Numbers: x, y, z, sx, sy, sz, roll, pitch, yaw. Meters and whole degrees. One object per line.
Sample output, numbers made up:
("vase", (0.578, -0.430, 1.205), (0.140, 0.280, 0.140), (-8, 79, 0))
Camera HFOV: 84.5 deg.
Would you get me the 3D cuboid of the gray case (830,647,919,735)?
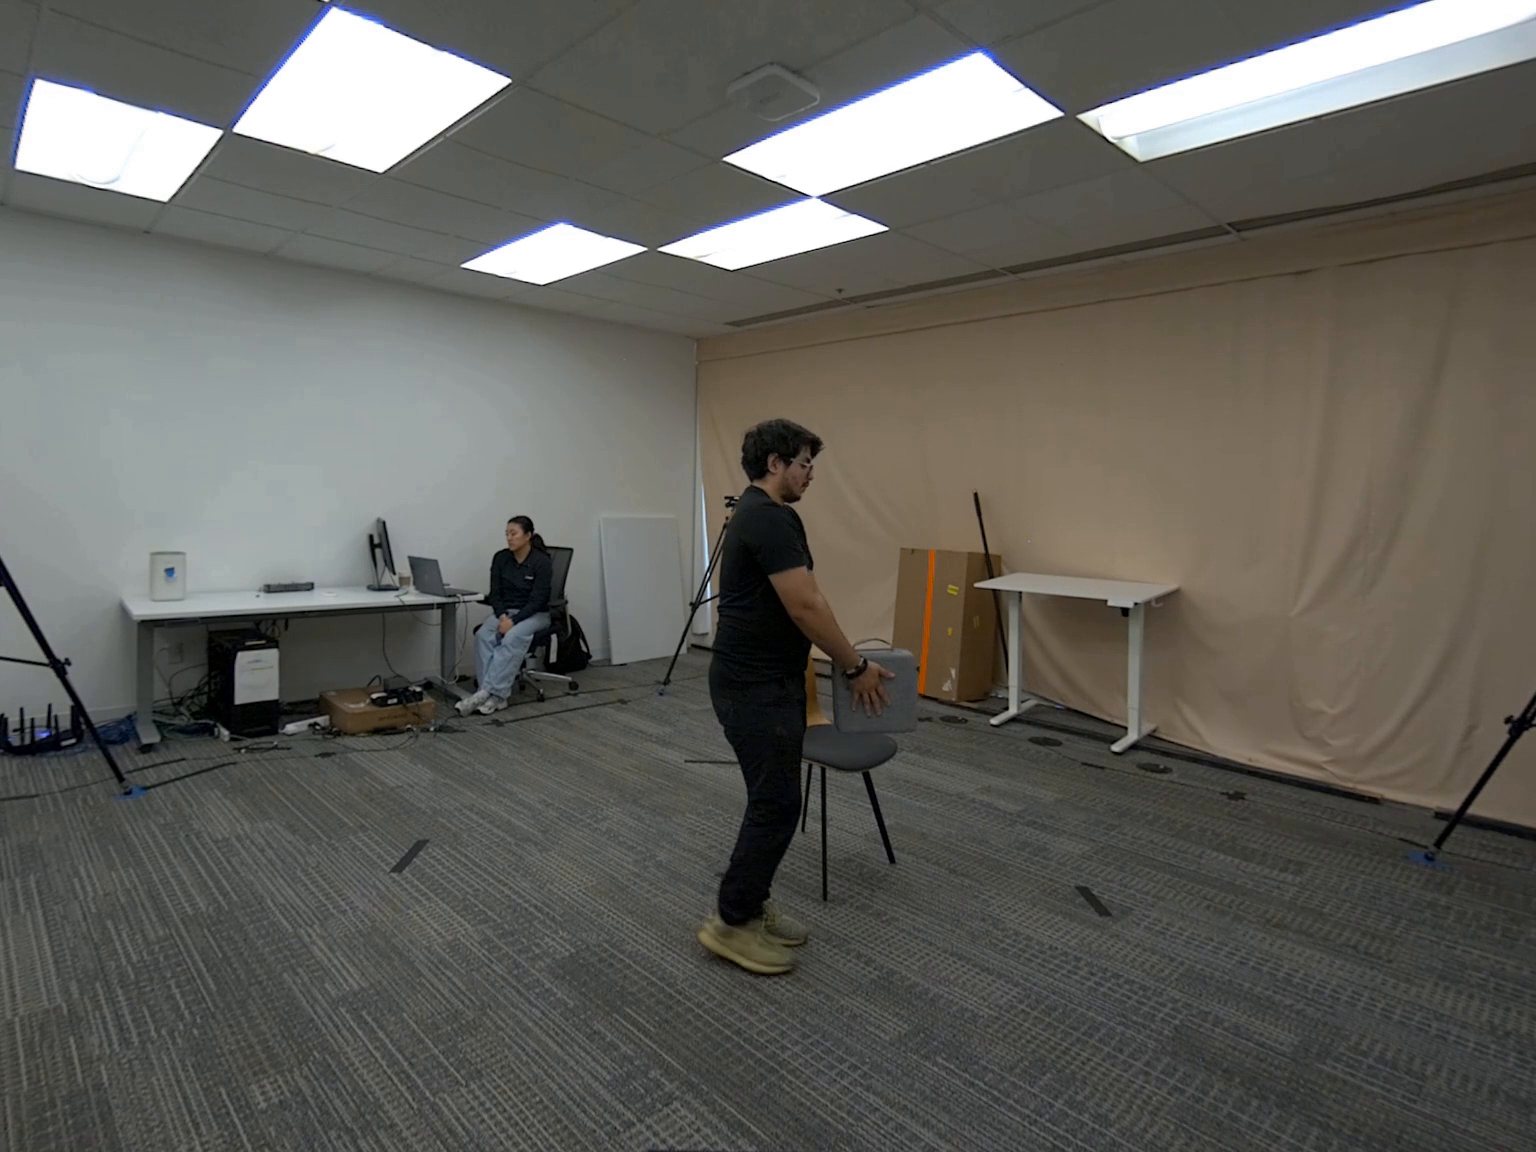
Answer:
("gray case", (0.333, 0.357, 2.602), (0.258, 0.261, 0.103), (-4, -2, 8))
